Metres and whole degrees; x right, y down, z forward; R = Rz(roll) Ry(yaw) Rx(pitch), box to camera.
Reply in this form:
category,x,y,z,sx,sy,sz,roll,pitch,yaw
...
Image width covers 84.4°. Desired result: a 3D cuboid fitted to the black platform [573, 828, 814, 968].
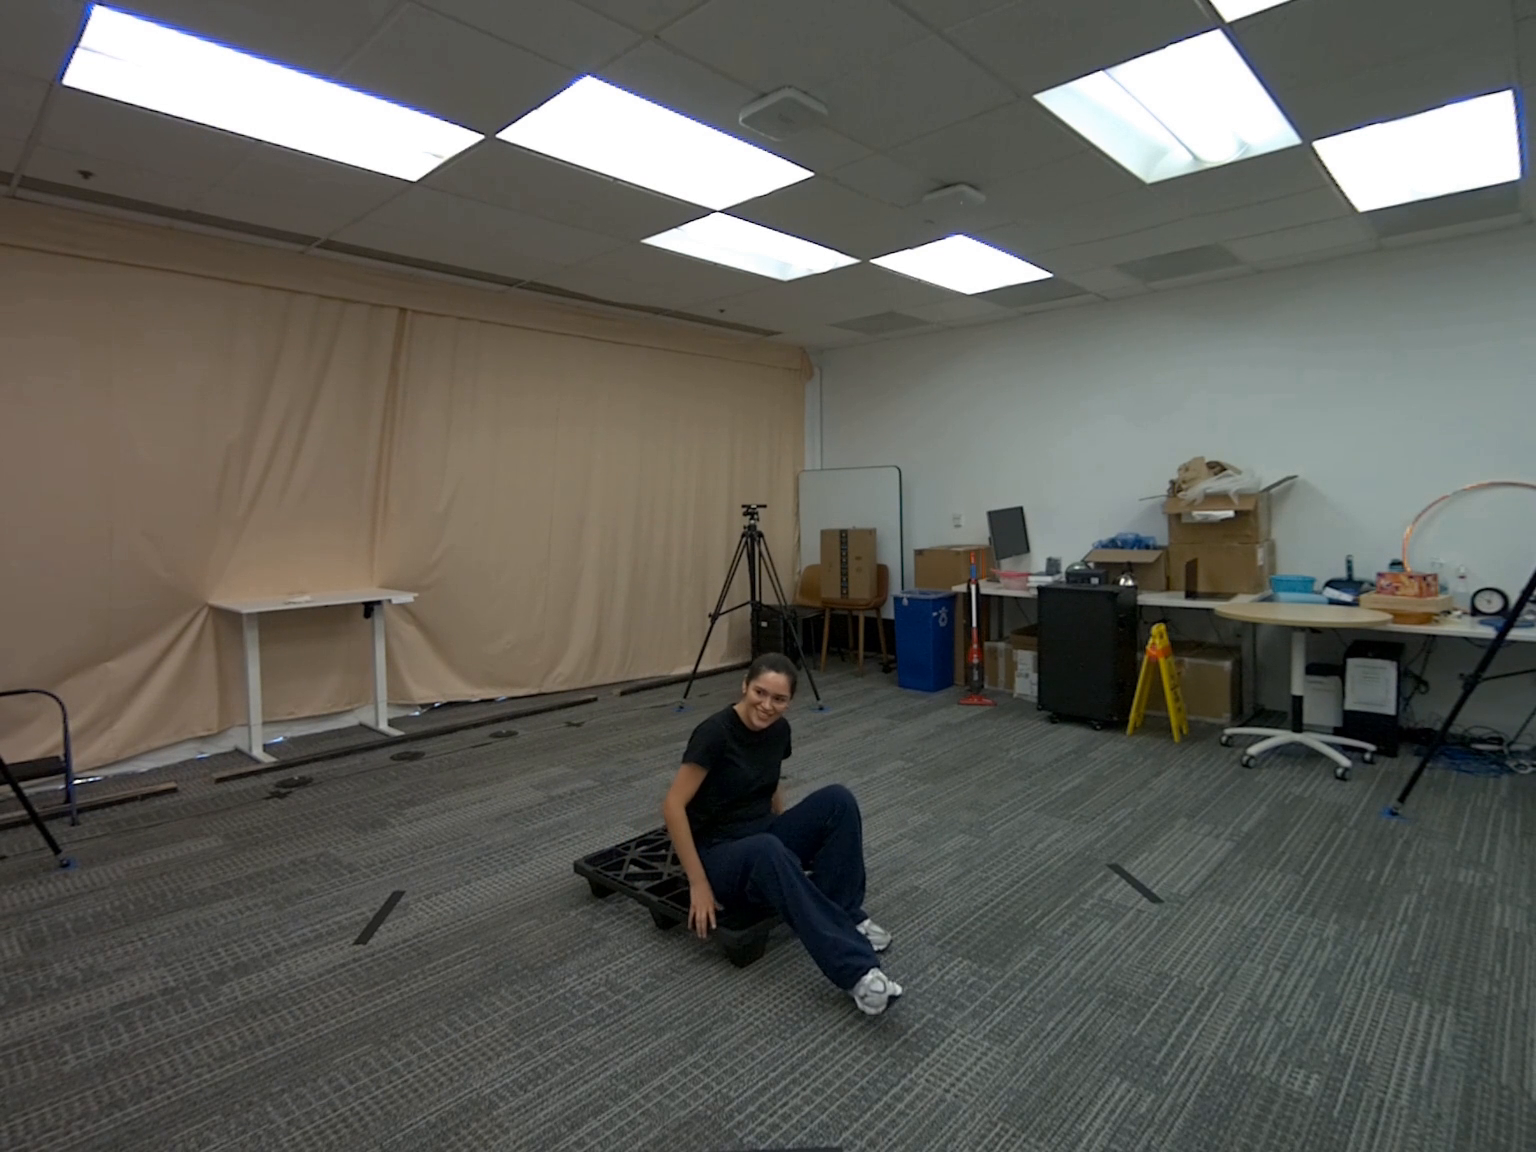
category,x,y,z,sx,sy,sz,roll,pitch,yaw
black platform,-0.192,1.082,2.942,0.832,0.143,0.587,4,8,42
